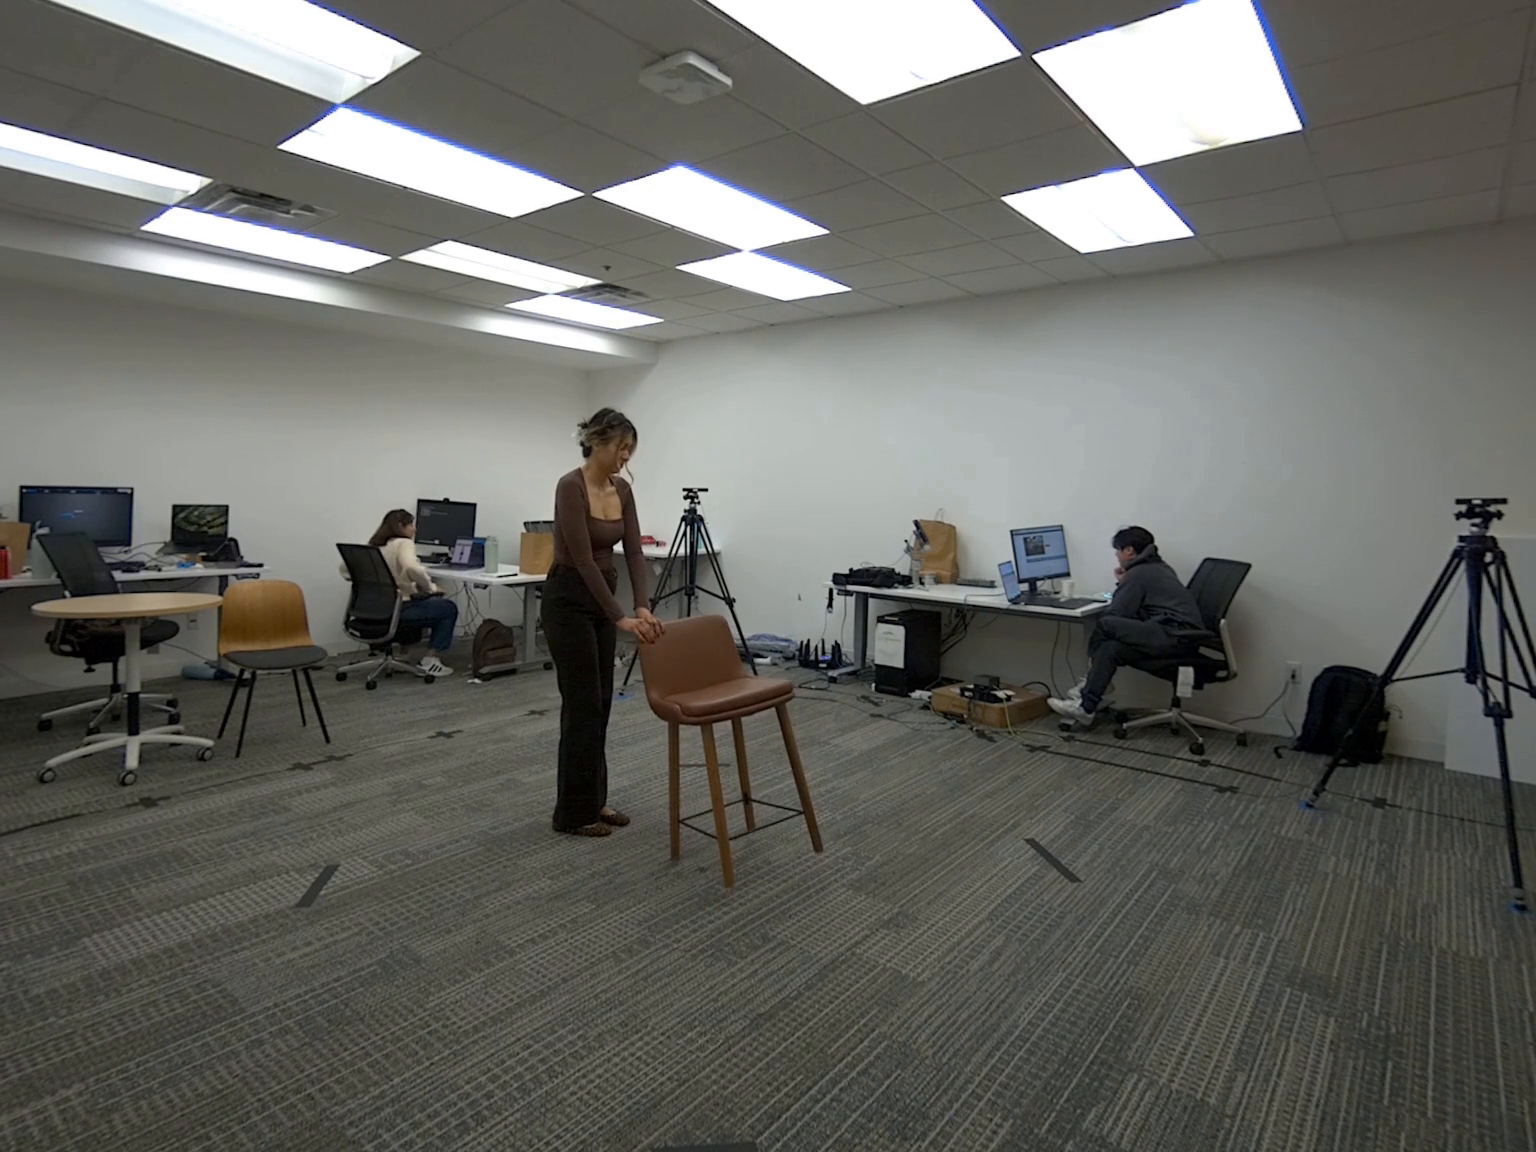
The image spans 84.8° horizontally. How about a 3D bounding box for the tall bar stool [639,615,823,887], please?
[{"bbox_3d":[-0.170,0.592,3.134,0.445,0.893,0.478,-8,-4,-33],"label":"tall bar stool"}]
